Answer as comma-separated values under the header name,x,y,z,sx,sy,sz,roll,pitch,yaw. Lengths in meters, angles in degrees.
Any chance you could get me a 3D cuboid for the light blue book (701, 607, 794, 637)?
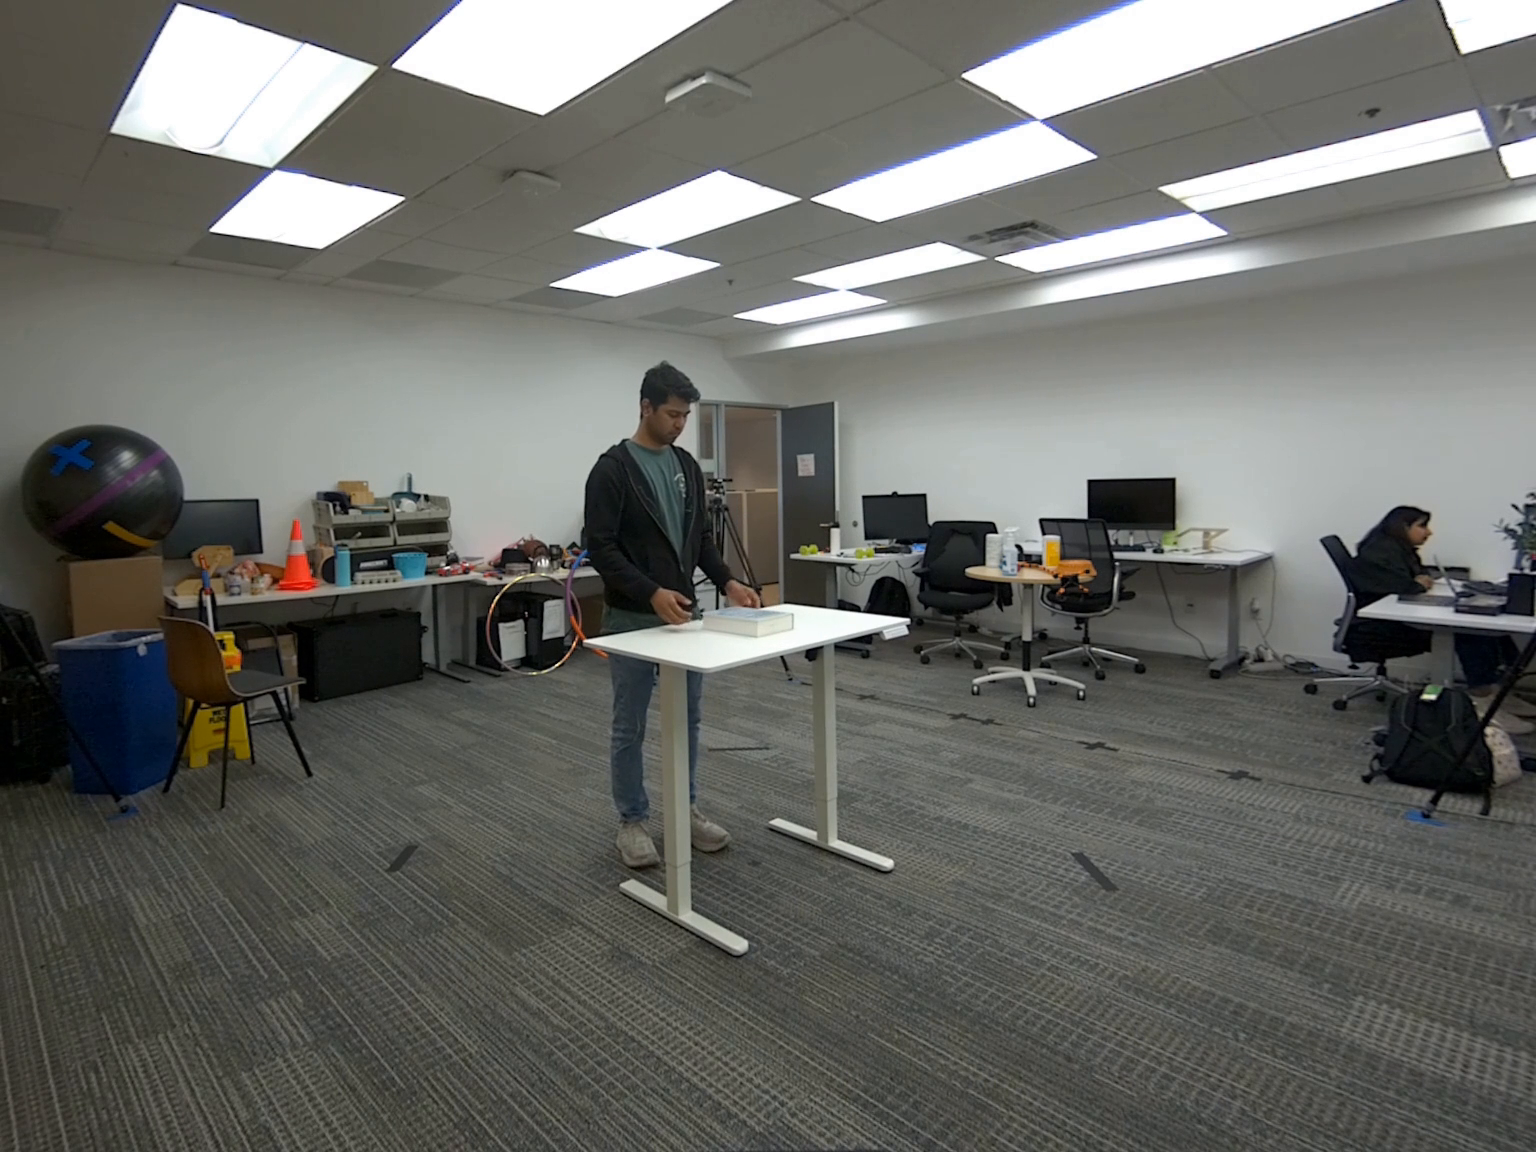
name,x,y,z,sx,sy,sz,roll,pitch,yaw
light blue book,-0.074,0.156,2.923,0.269,0.059,0.186,4,8,41
